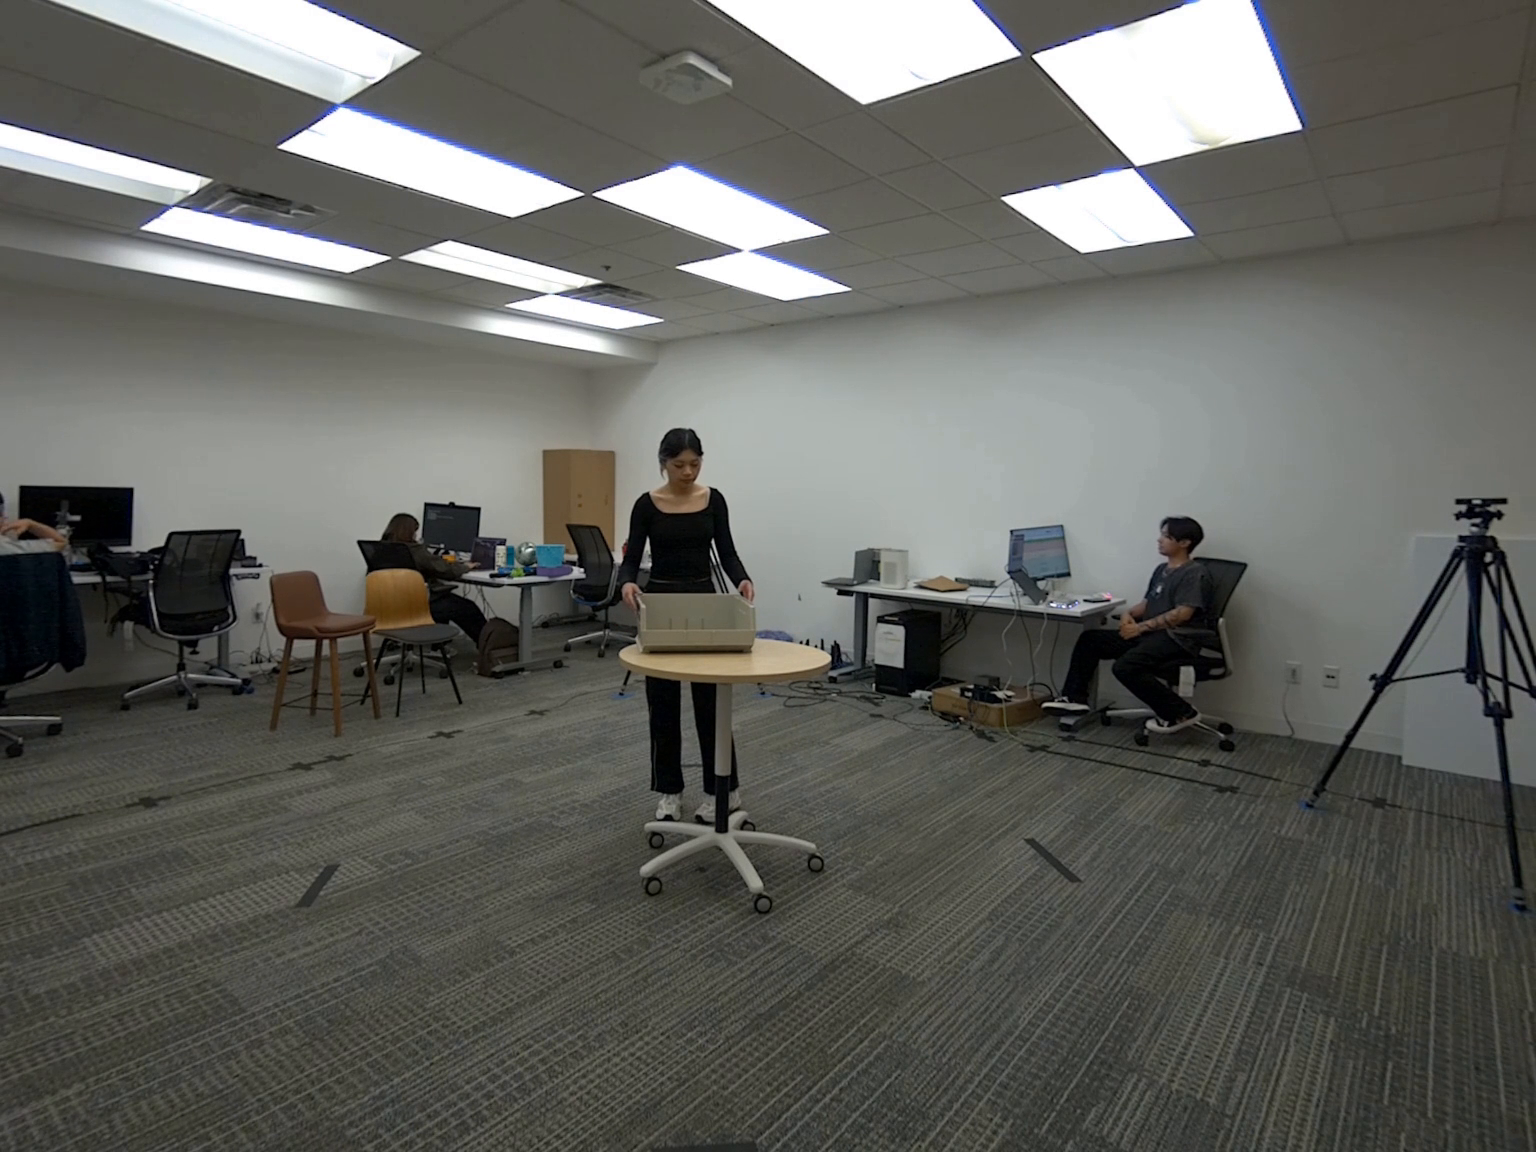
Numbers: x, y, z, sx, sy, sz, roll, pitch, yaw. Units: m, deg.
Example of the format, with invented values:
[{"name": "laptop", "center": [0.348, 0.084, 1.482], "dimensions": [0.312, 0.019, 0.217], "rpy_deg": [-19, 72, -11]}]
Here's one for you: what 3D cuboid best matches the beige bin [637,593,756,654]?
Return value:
[{"name": "beige bin", "center": [-0.293, 0.171, 3.225], "dimensions": [0.418, 0.188, 0.382], "rpy_deg": [-1, 5, -9]}]
